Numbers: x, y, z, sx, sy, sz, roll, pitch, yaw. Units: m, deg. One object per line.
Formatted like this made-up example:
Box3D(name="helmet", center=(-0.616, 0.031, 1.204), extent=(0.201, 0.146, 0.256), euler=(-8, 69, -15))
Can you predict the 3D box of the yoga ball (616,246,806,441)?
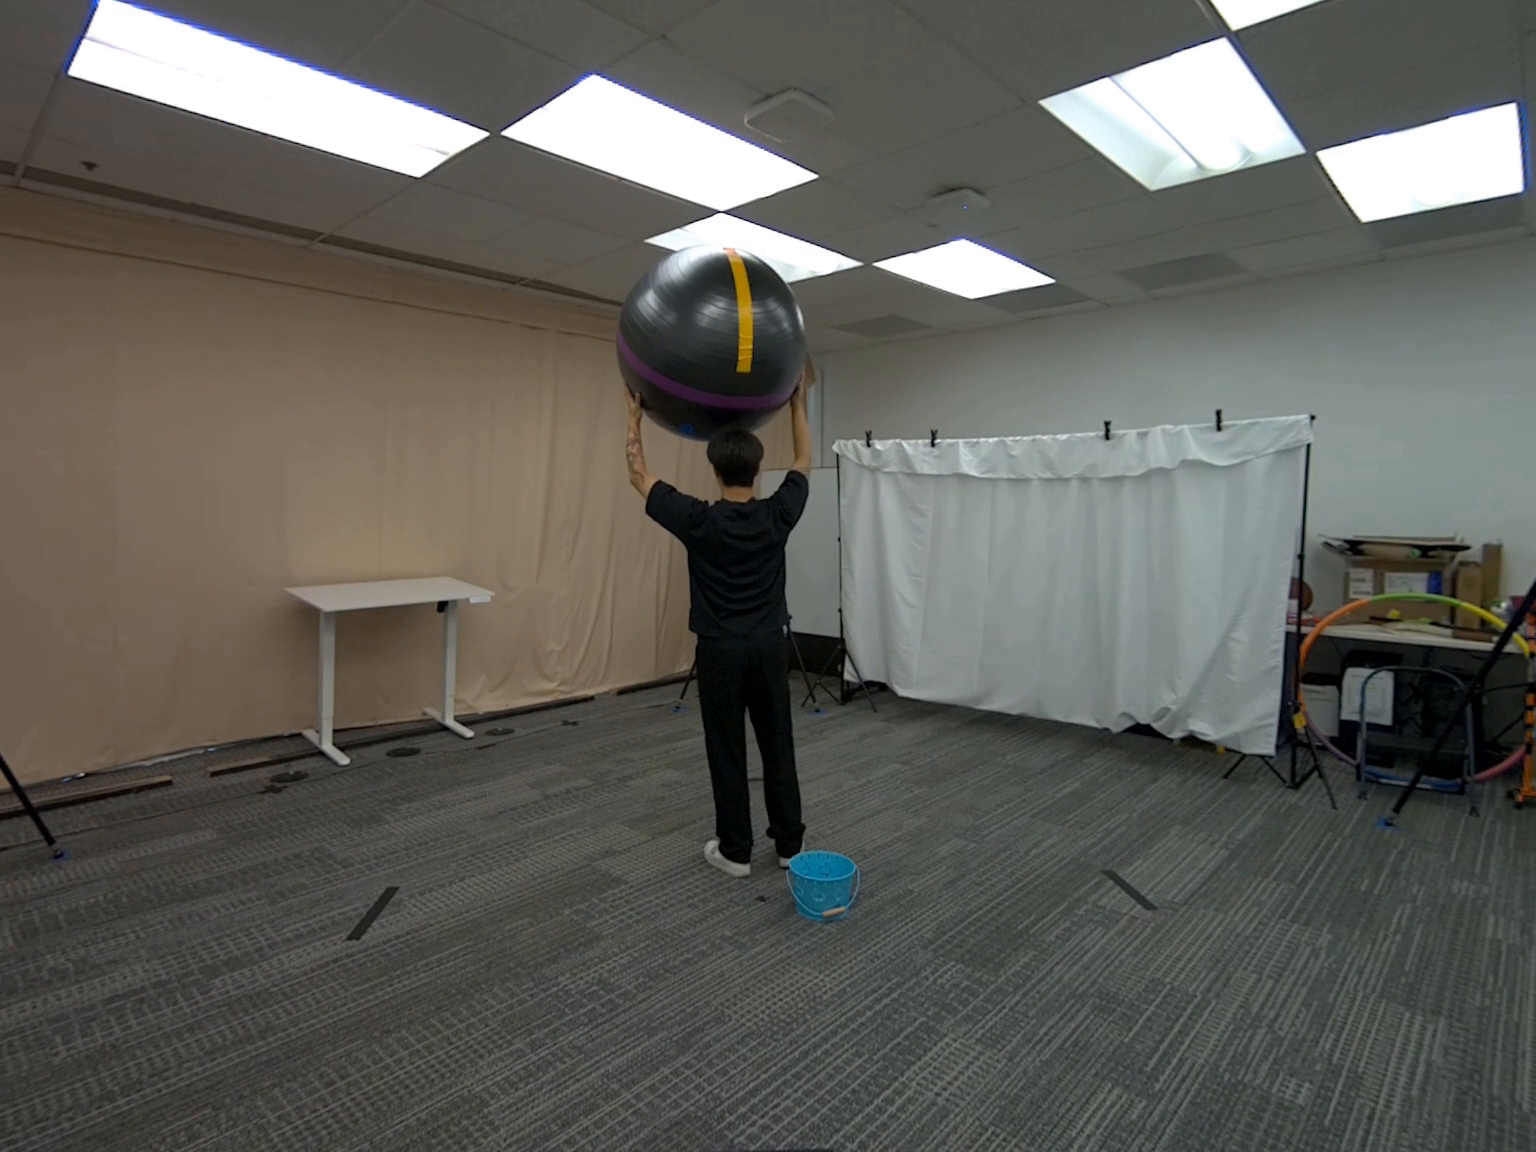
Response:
Box3D(name="yoga ball", center=(-0.220, -0.920, 3.358), extent=(0.757, 0.756, 0.760), euler=(0, 4, -2))
